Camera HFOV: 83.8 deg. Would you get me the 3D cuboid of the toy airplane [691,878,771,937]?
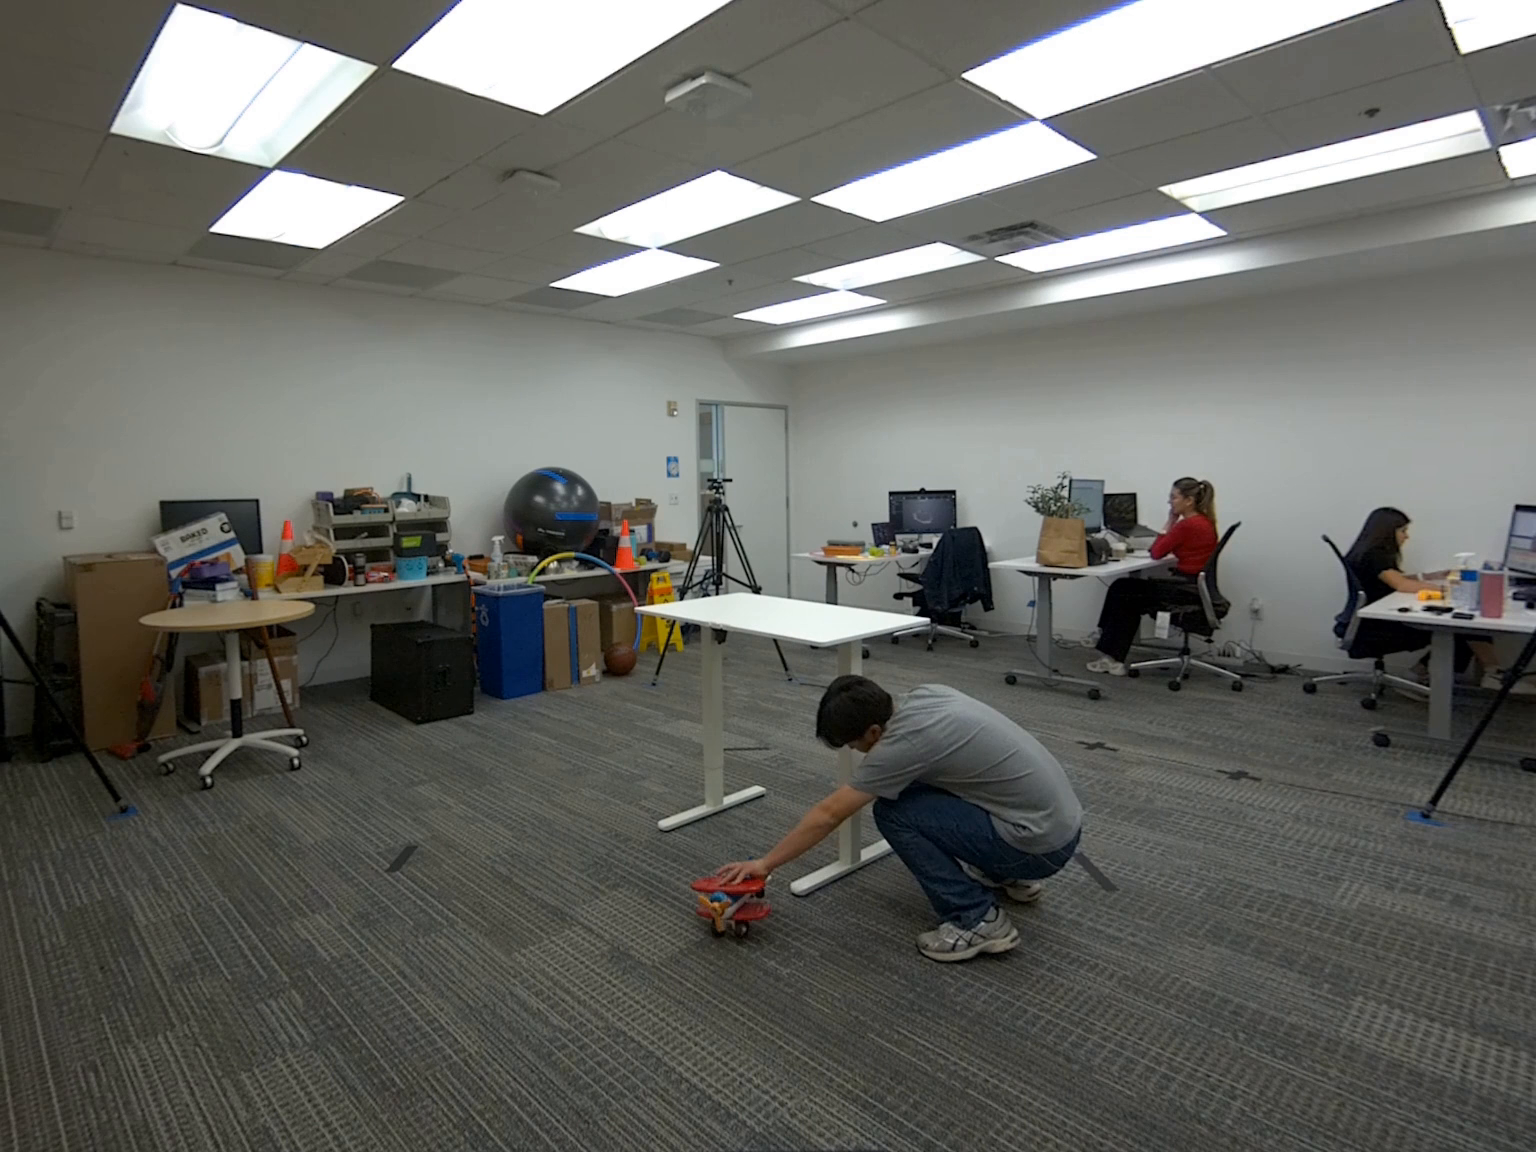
[{"bbox_3d":[-0.109,0.996,2.665,0.252,0.154,0.262,-16,13,3],"label":"toy airplane"}]
